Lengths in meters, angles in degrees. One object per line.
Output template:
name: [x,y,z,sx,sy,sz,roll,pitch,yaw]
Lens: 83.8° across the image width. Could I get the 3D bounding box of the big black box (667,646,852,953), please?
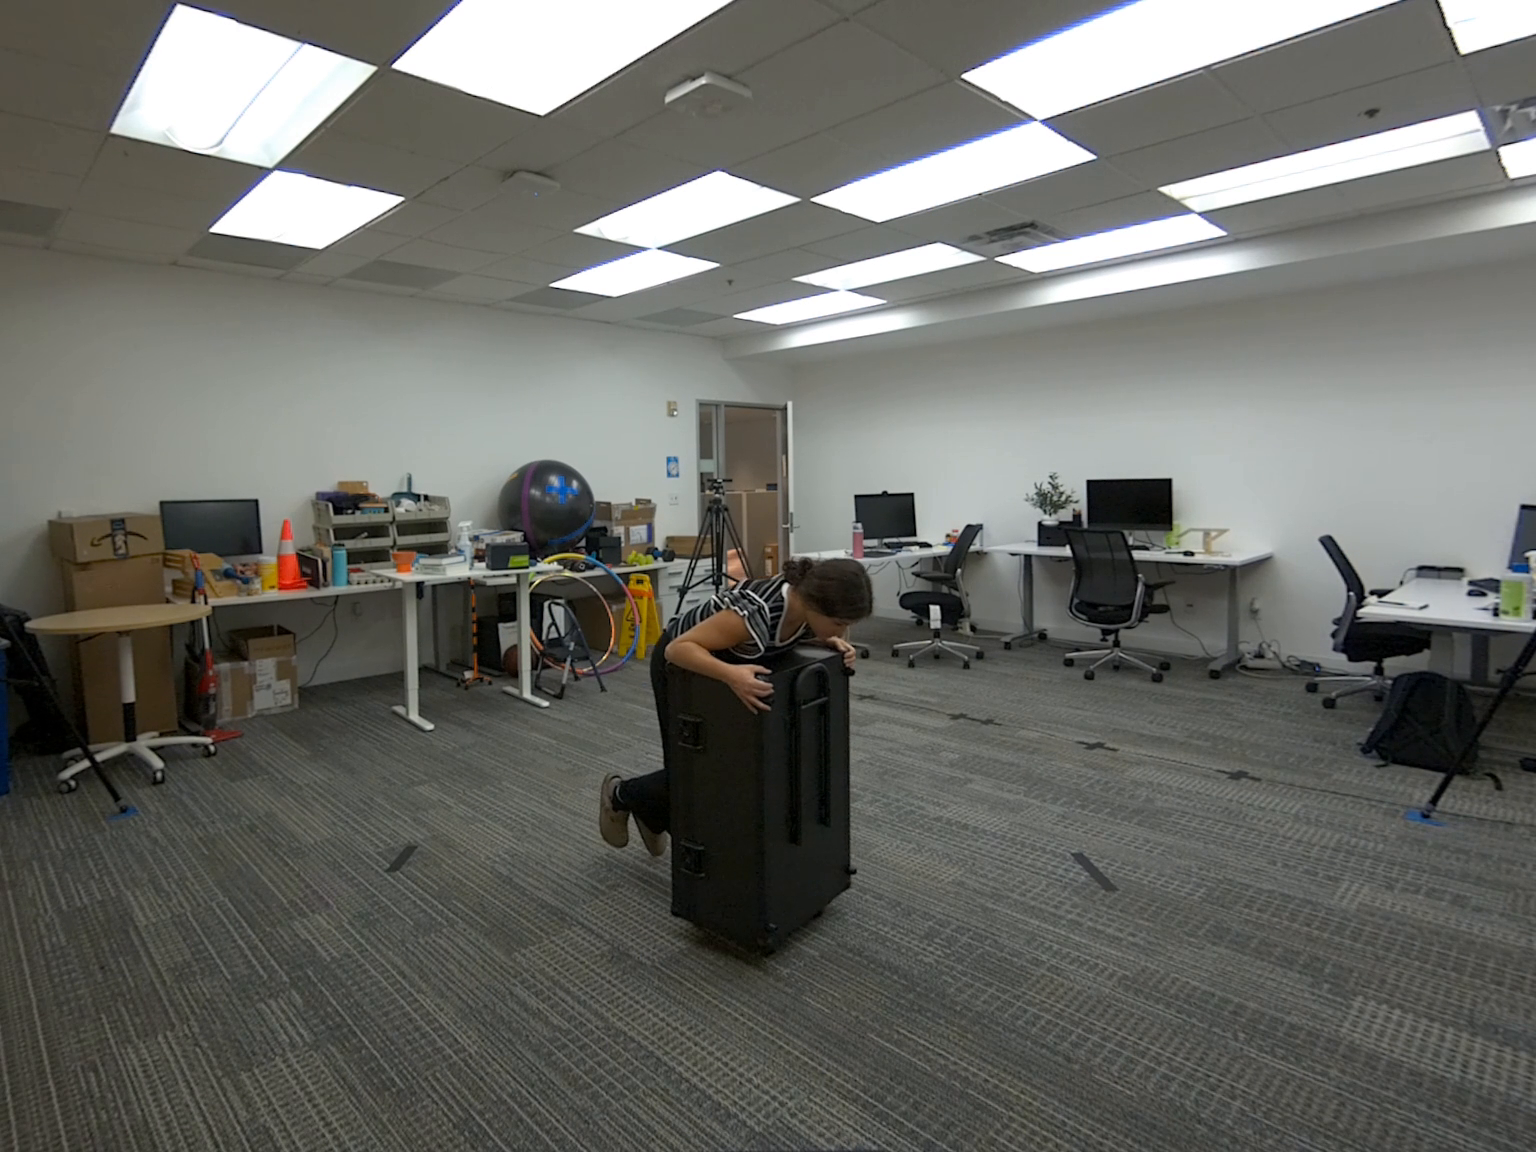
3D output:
big black box: [-0.006,0.683,2.665,0.408,0.857,0.508,4,7,37]
